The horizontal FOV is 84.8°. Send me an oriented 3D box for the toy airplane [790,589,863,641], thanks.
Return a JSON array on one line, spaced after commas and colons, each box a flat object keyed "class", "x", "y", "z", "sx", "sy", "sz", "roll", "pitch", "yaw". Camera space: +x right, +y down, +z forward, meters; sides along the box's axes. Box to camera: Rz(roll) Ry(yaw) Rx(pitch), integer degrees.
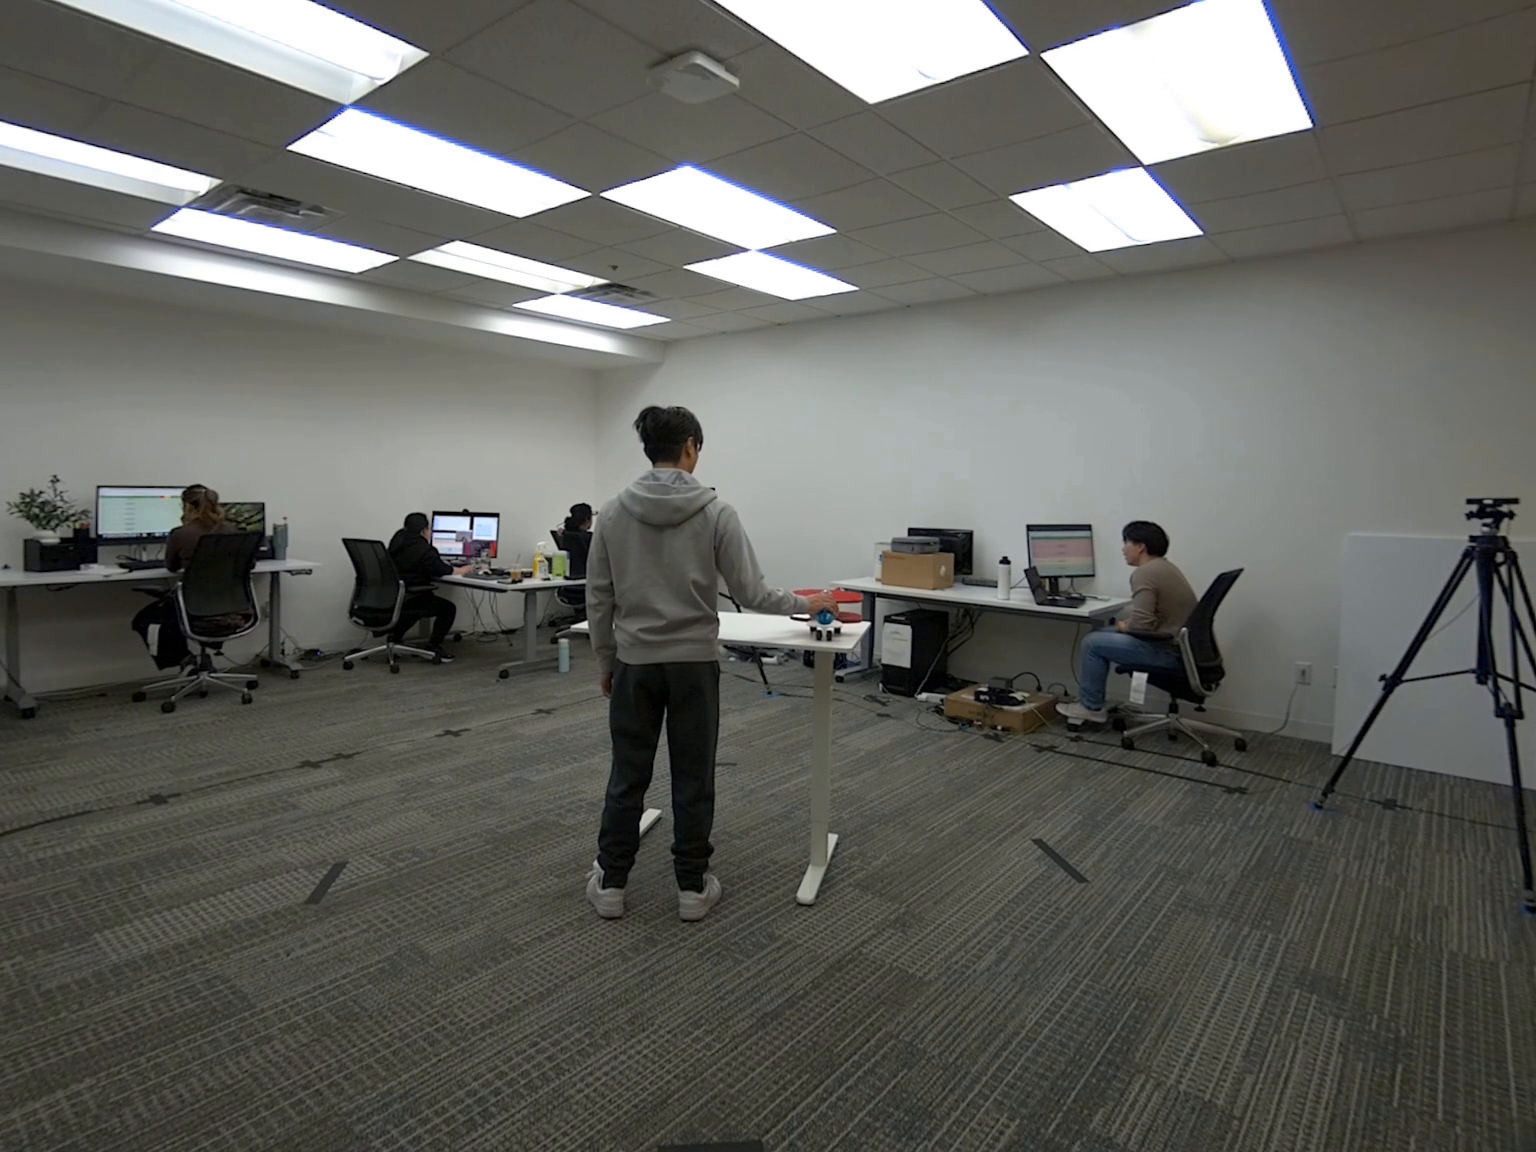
[{"class": "toy airplane", "x": 0.217, "y": 0.130, "z": 2.989, "sx": 0.246, "sy": 0.156, "sz": 0.266, "roll": -3, "pitch": 6, "yaw": -24}]
